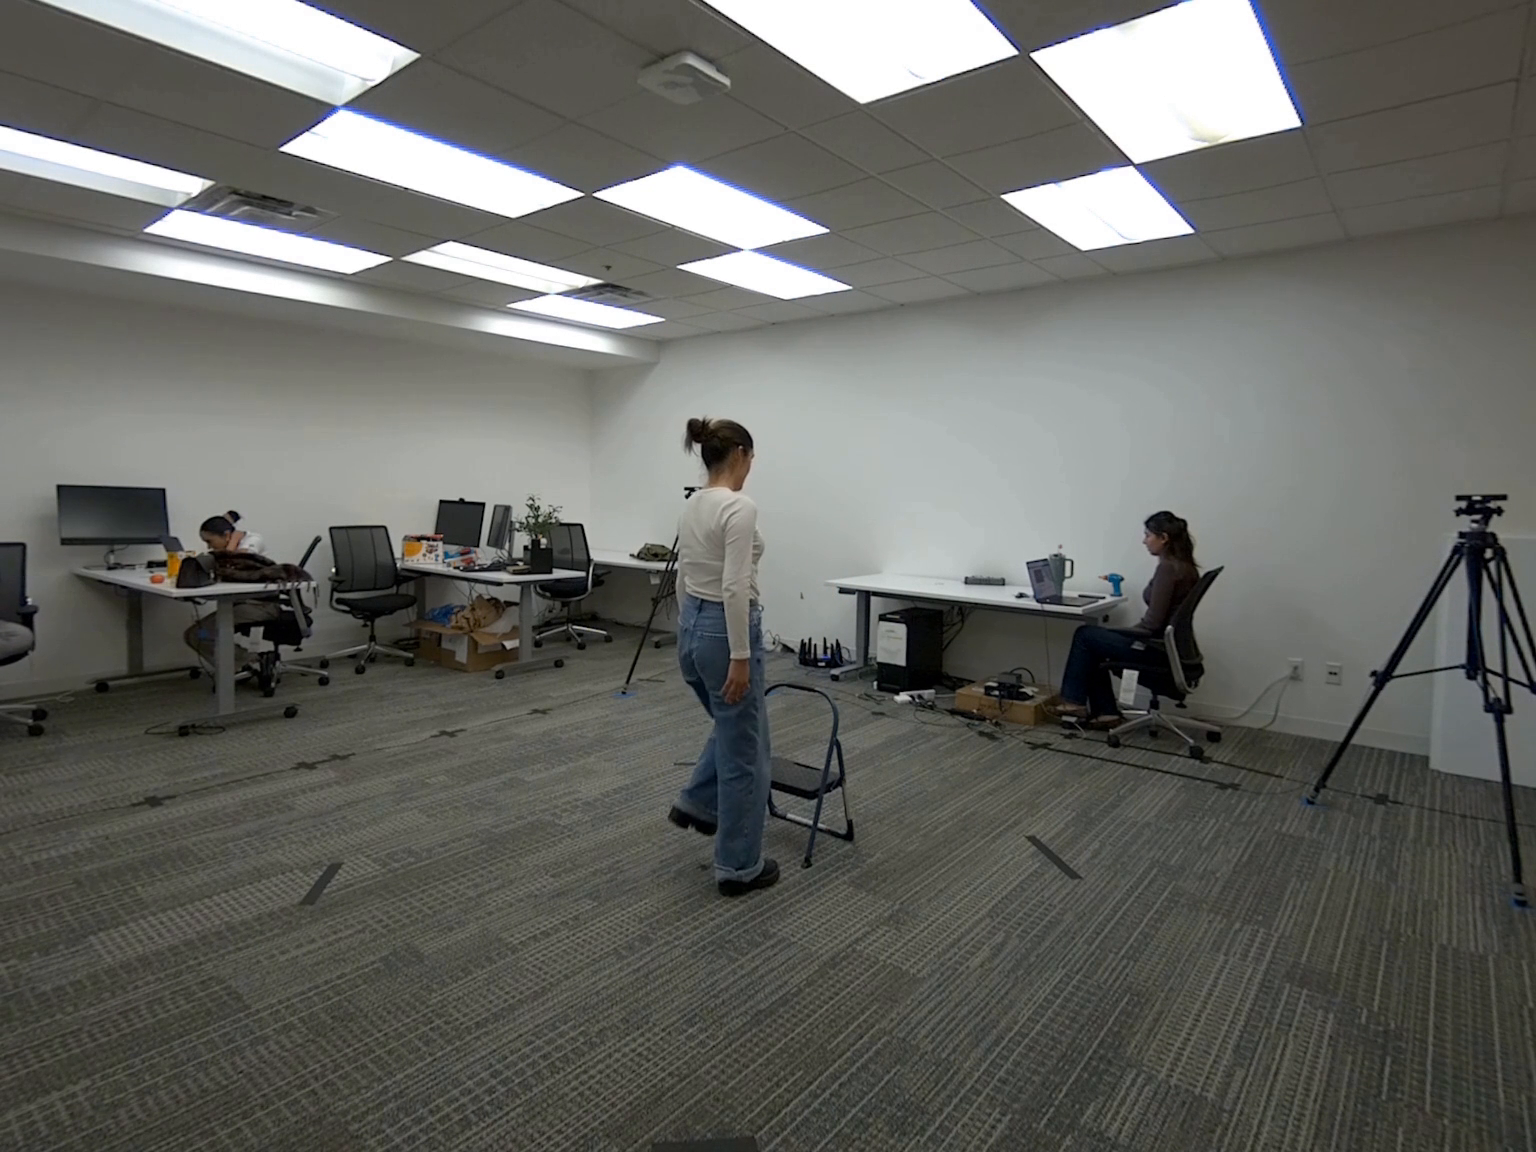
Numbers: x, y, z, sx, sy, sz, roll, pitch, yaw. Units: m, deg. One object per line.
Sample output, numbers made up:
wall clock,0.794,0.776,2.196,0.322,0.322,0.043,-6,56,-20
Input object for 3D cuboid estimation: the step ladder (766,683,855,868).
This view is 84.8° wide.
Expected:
step ladder,0.076,0.739,3.372,0.445,0.604,0.339,4,5,38
